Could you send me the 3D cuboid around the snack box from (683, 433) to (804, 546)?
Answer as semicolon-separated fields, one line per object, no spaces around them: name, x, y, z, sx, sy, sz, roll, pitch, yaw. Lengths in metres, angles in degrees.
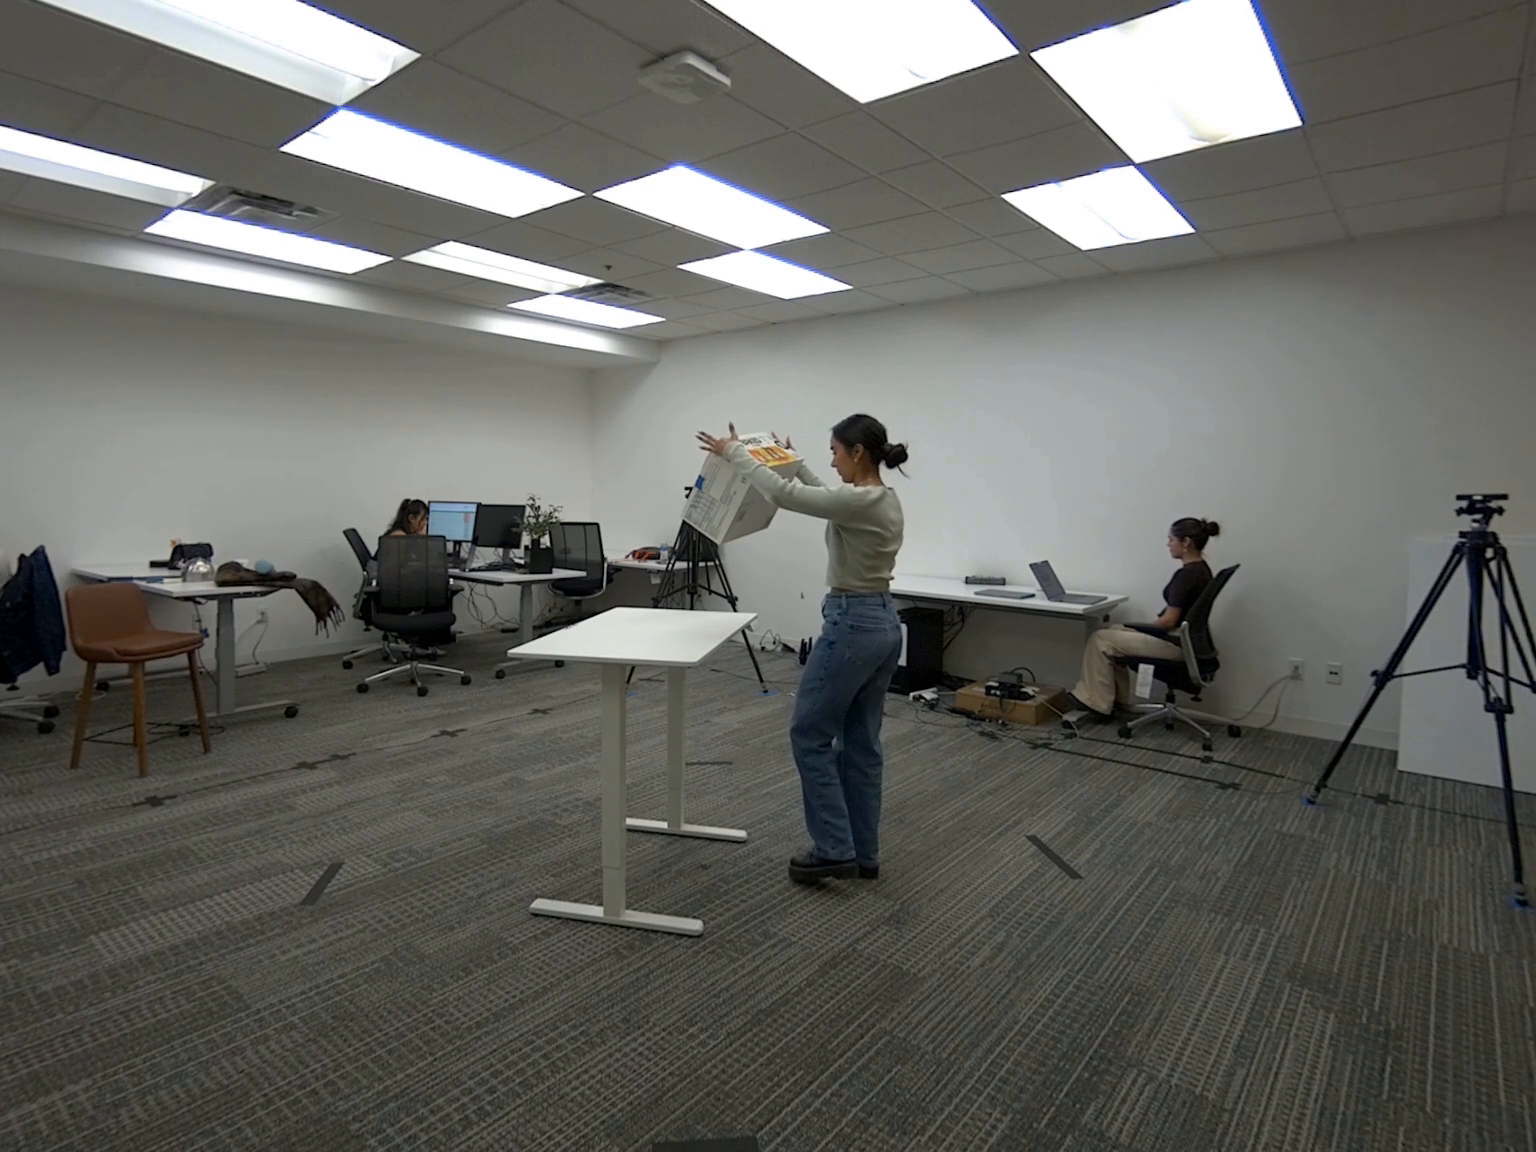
snack box;-0.106;-0.345;3.283;0.211;0.337;0.398;35;25;17
